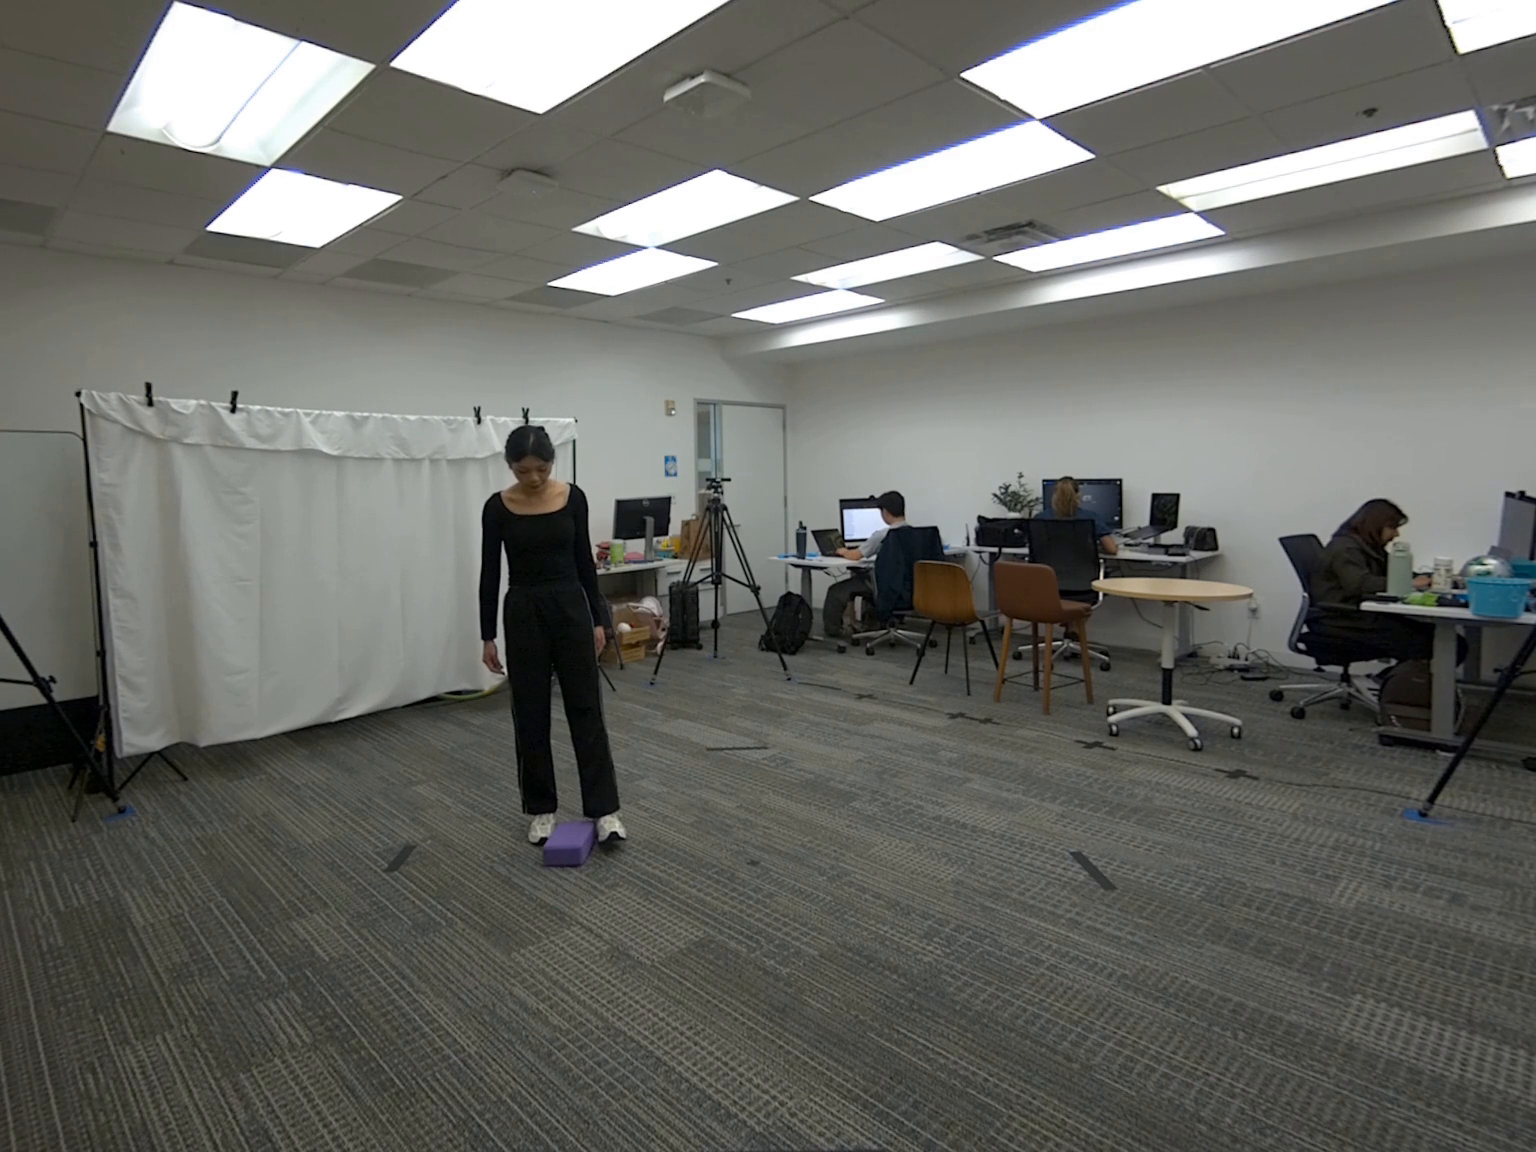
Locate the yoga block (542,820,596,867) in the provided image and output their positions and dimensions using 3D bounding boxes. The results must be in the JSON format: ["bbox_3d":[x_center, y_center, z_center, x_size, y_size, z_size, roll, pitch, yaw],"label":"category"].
[{"bbox_3d":[-0.742,1.006,3.210,0.149,0.076,0.230,-2,7,1],"label":"yoga block"}]
